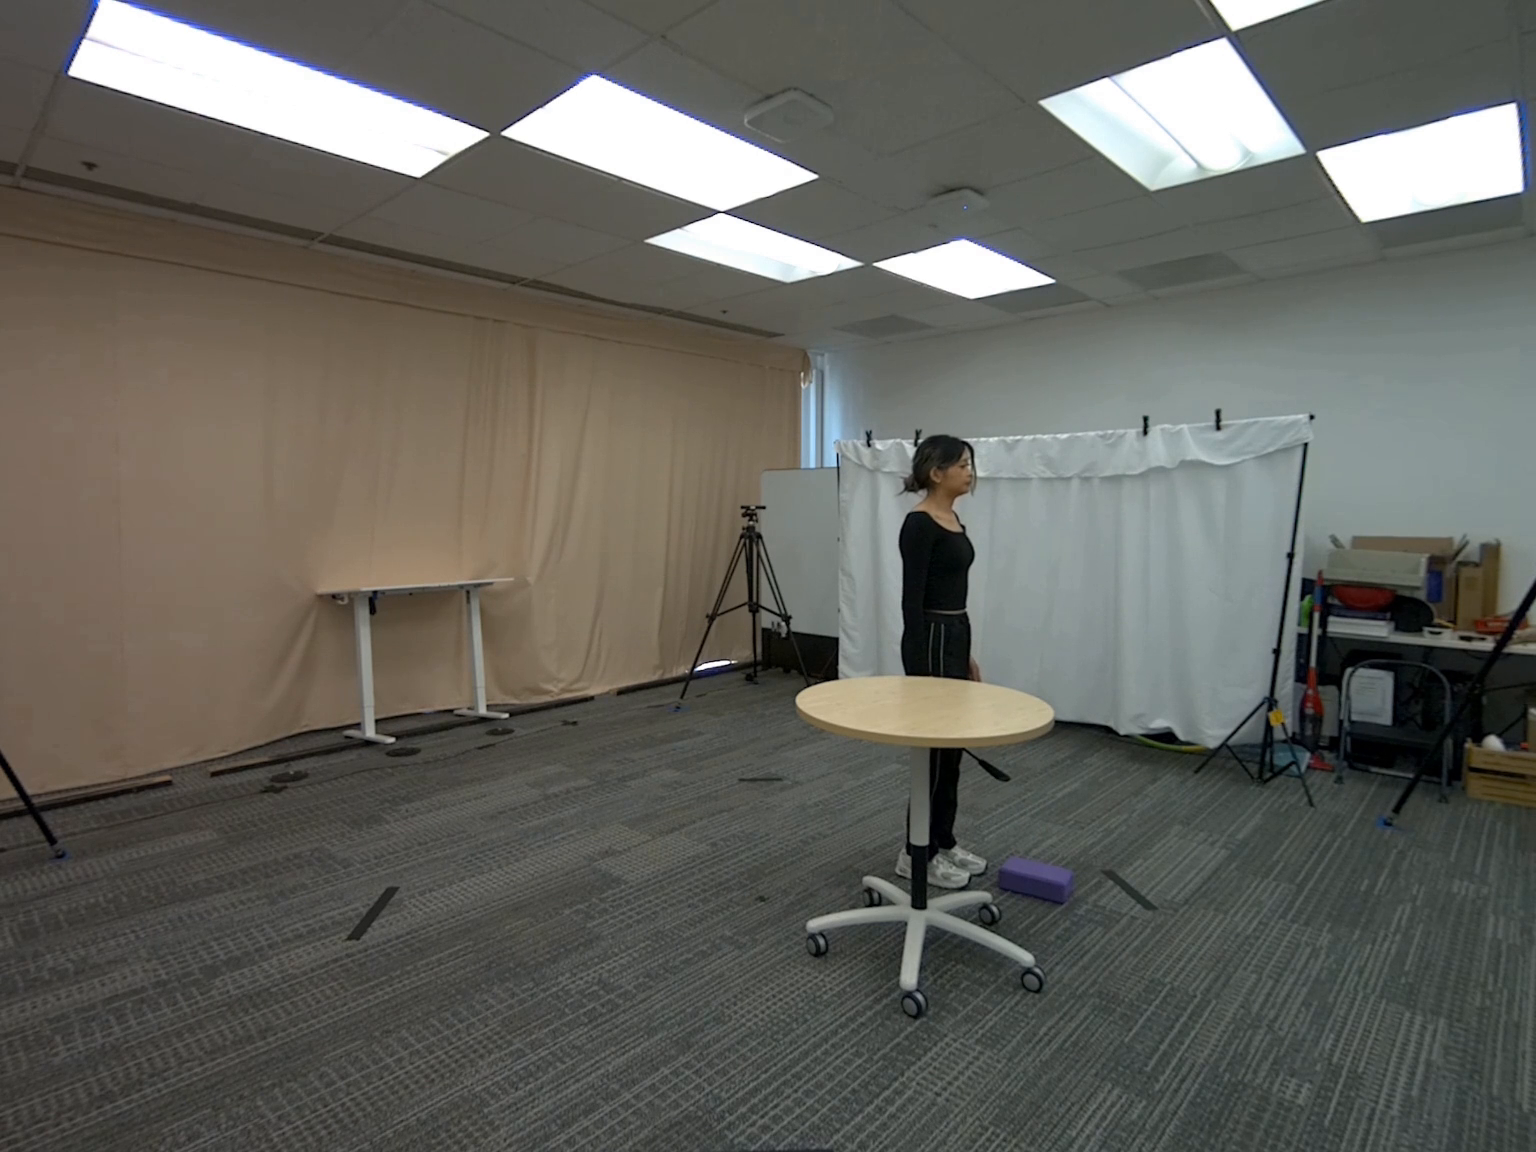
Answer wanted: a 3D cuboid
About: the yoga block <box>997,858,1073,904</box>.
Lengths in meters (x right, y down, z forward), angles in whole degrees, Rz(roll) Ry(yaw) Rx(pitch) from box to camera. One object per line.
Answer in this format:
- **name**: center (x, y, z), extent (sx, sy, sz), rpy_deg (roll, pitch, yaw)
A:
- **yoga block**: center (0.978, 1.100, 3.042), extent (0.236, 0.076, 0.145), rpy_deg (3, 4, 33)
